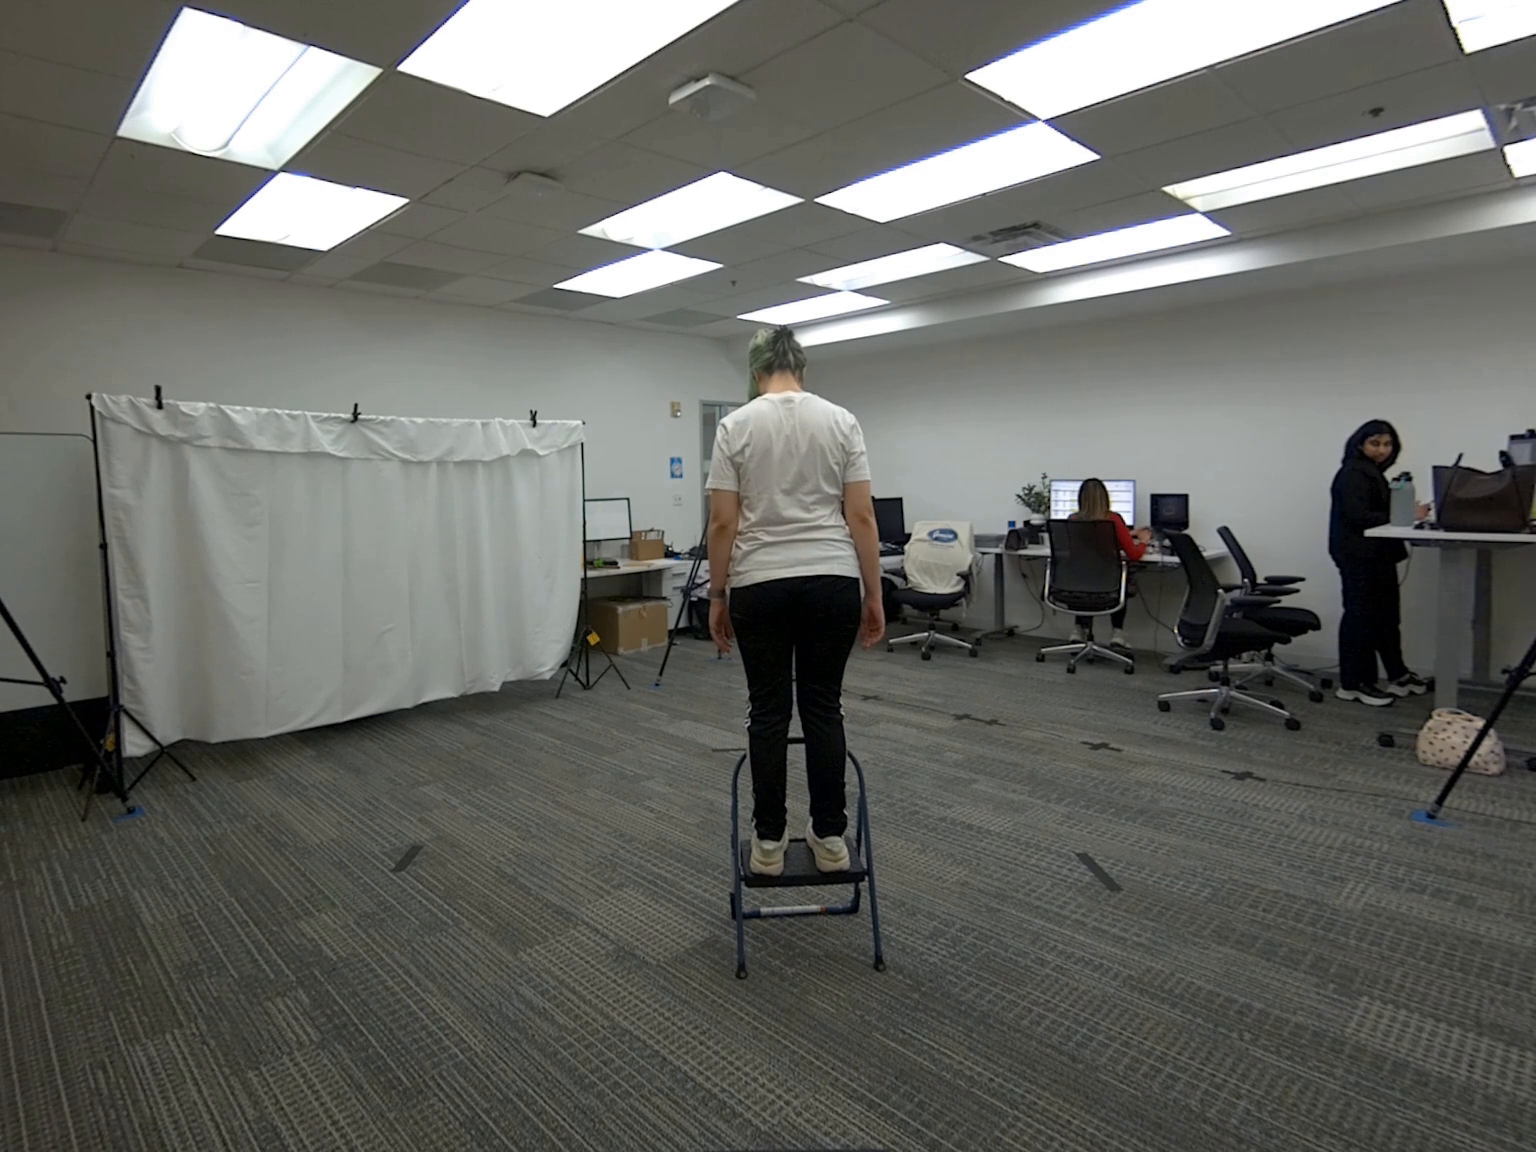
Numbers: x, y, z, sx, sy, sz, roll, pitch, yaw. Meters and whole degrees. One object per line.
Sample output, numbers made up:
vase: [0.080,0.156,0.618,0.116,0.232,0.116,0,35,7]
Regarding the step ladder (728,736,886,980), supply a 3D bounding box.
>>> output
step ladder: [0.104,0.808,2.566,0.429,0.603,0.352,-1,5,-5]
